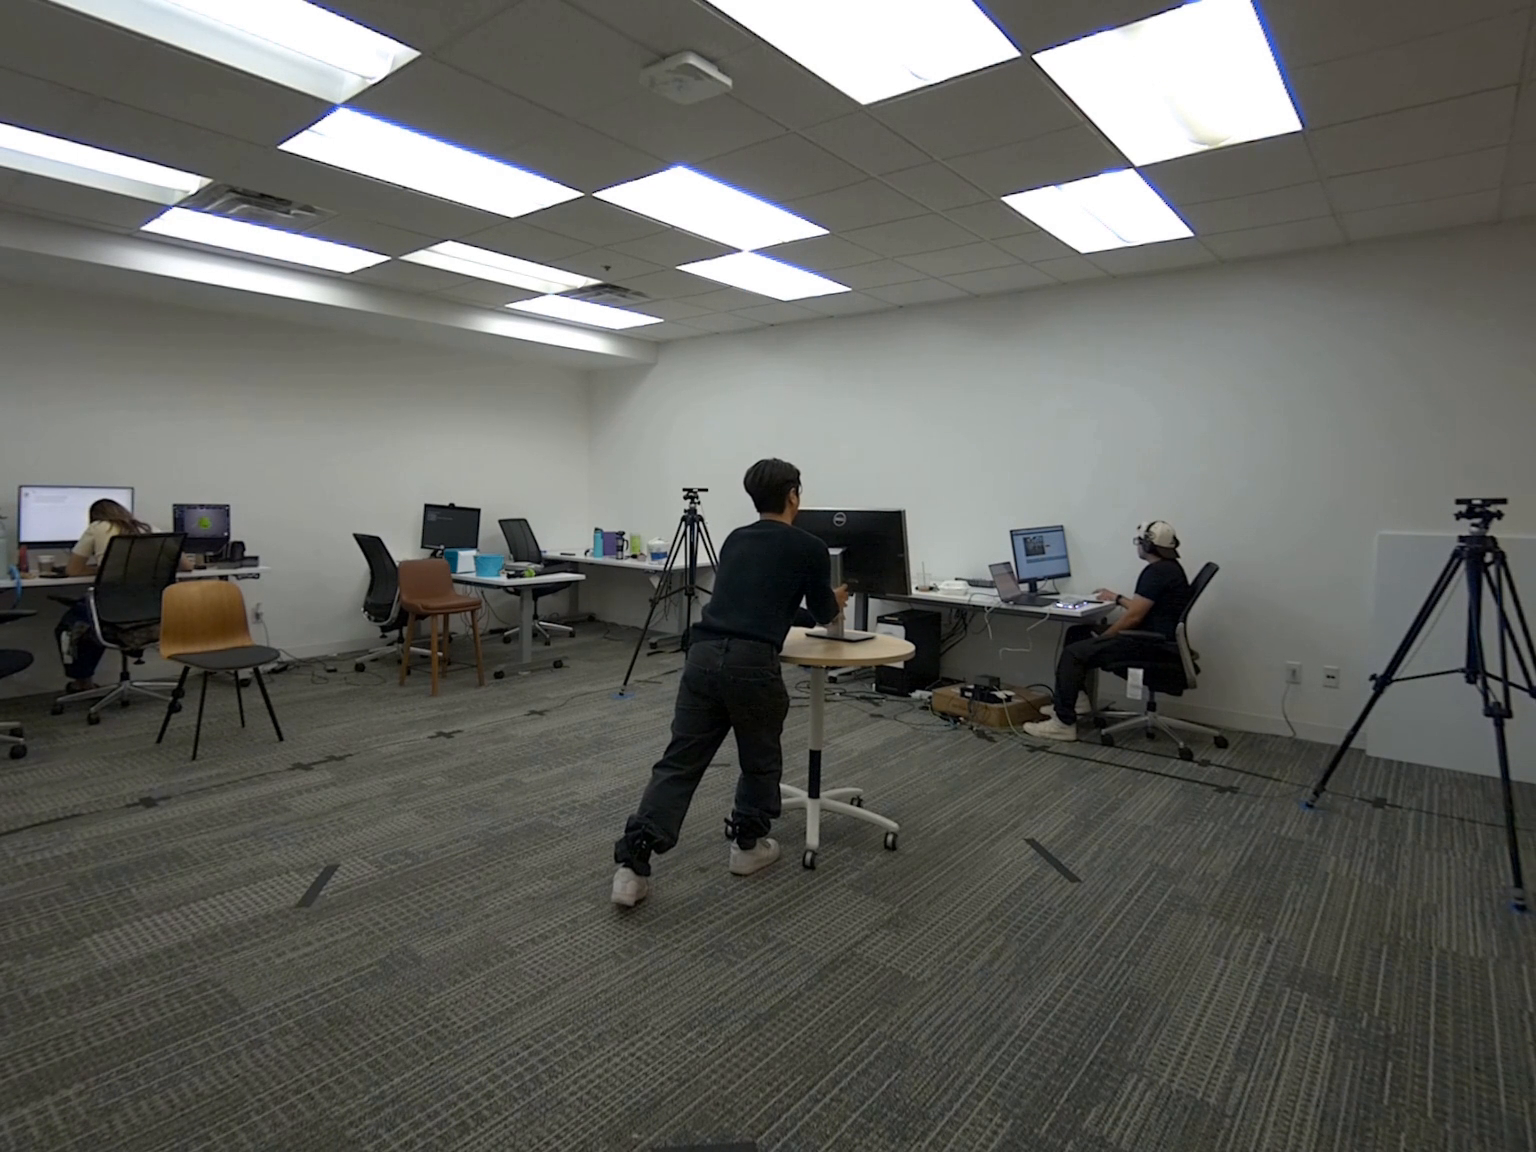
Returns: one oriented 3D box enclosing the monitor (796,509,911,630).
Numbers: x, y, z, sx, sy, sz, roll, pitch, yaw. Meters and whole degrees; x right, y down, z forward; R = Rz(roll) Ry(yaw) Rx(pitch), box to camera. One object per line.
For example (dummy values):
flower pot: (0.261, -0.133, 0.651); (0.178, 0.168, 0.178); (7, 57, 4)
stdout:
monitor: (0.308, -0.020, 3.581); (0.546, 0.517, 0.169); (1, -3, 35)
